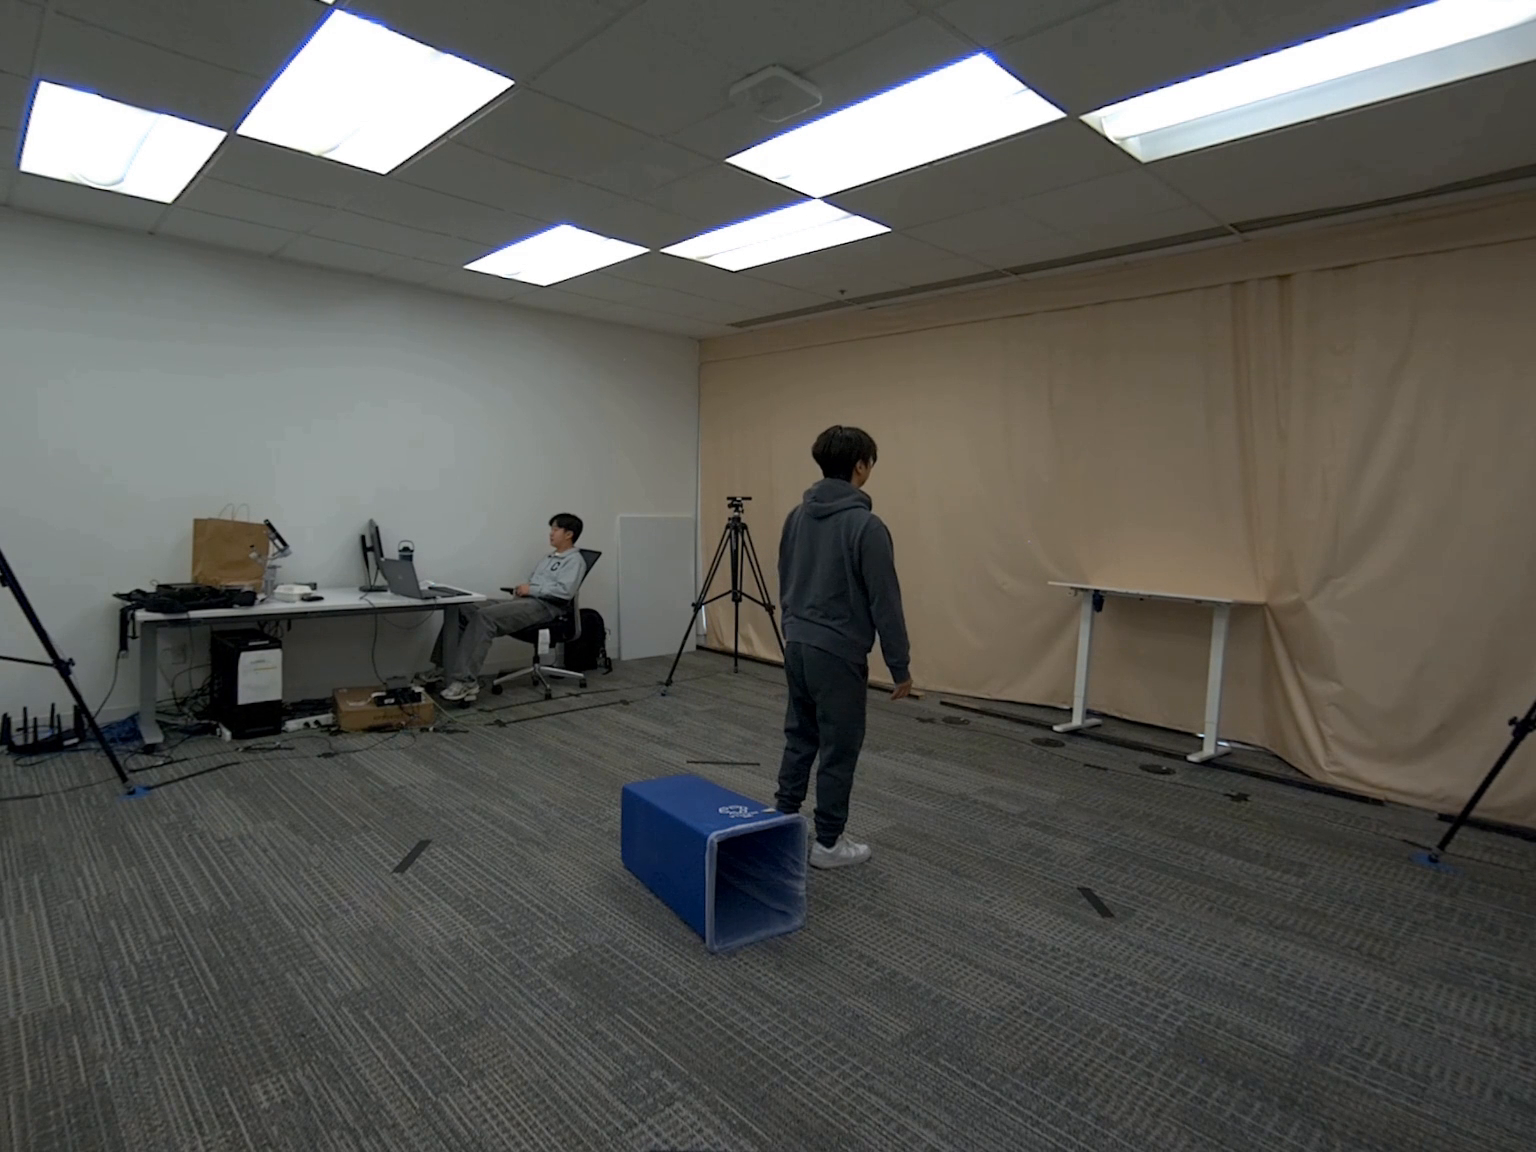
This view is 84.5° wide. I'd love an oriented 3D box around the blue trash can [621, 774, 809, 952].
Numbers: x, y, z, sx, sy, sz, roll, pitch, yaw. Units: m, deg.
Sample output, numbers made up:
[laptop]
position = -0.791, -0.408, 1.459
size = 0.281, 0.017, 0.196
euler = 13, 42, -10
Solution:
[blue trash can]
position = -0.236, 0.951, 2.936
size = 0.366, 0.378, 0.730
euler = -1, 2, -34
